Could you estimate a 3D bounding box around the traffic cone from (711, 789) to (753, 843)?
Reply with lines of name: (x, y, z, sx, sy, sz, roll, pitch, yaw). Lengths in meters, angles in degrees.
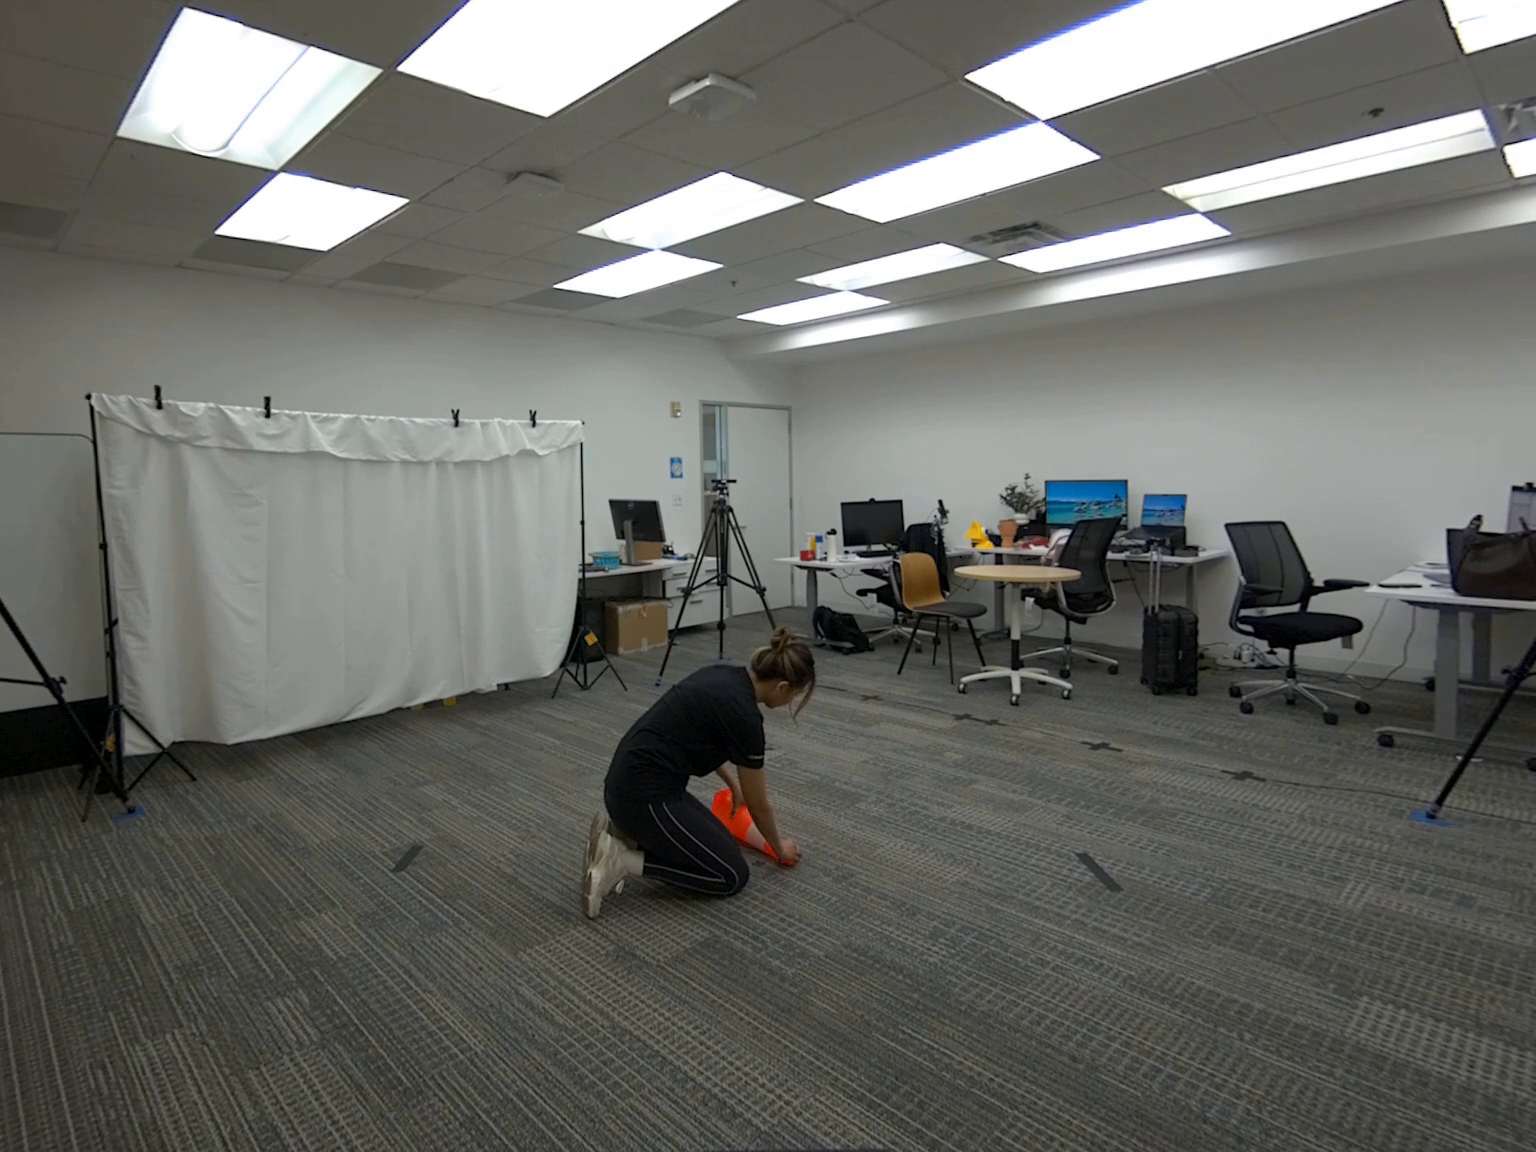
traffic cone: (-0.024, 0.989, 3.241, 0.199, 0.201, 0.398, -5, 21, -40)
